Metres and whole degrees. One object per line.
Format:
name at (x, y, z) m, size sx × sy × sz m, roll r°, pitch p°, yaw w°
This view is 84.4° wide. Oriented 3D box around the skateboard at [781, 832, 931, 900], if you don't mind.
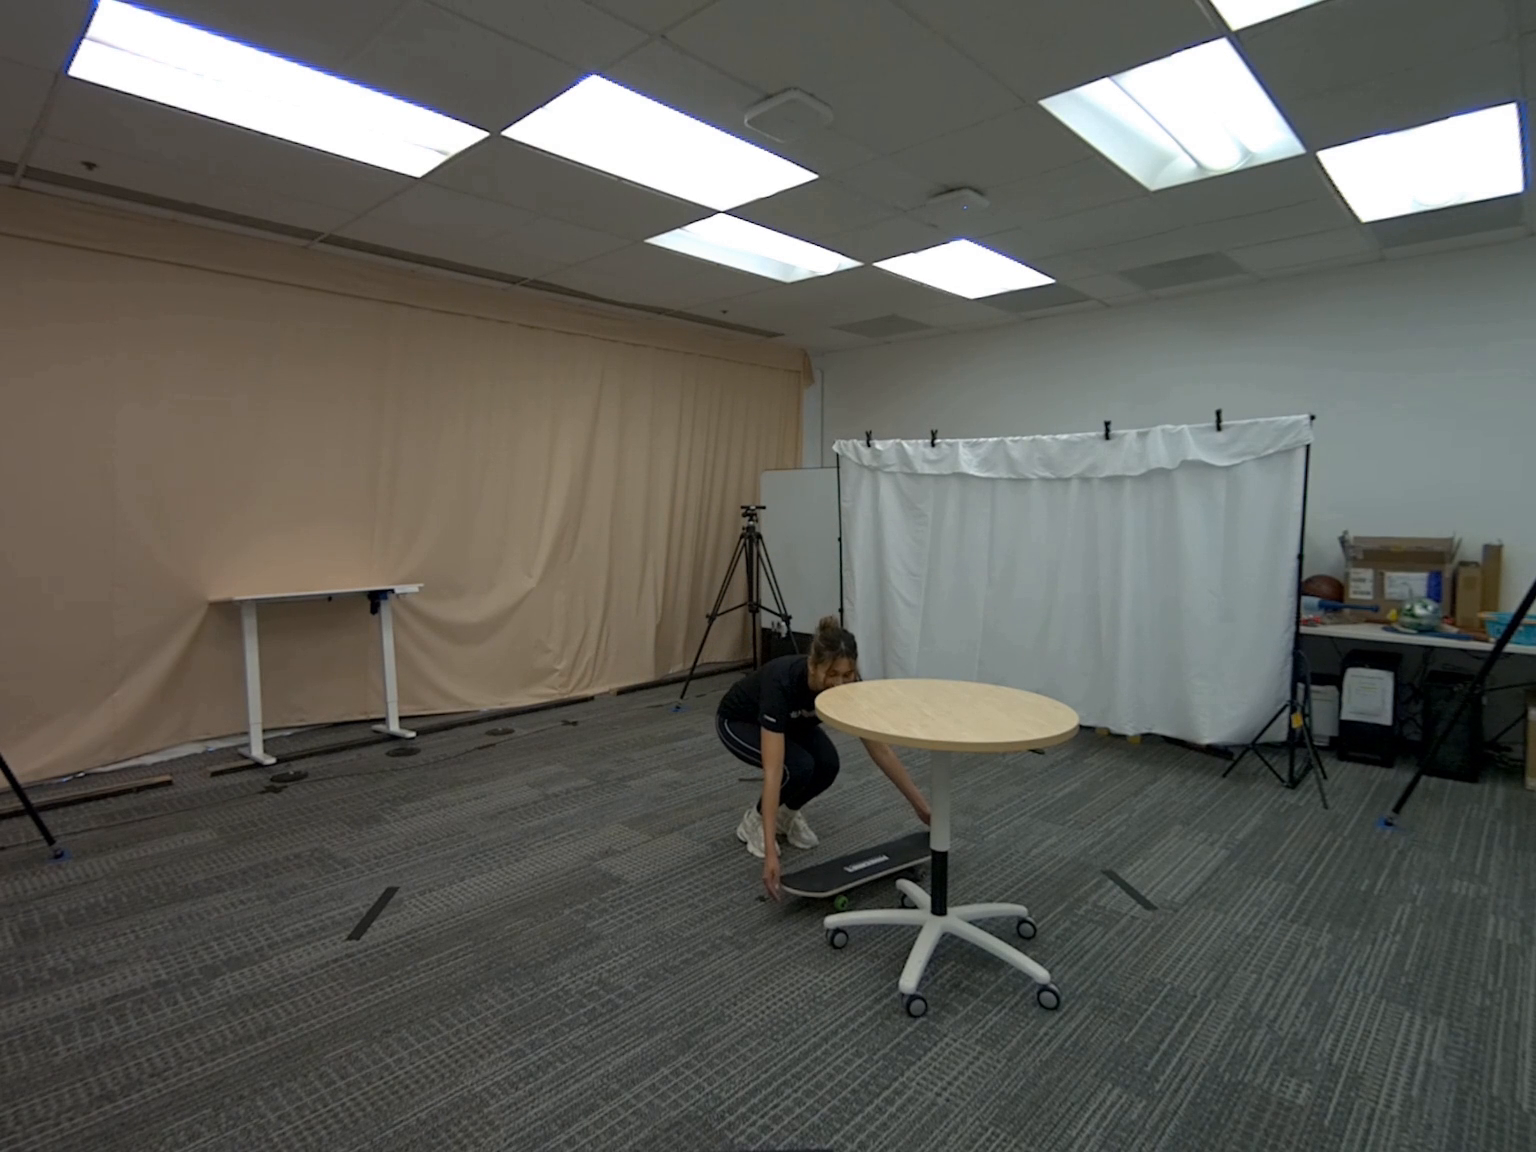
skateboard at (0.360, 1.081, 3.066) m, size 0.762 × 0.110 × 0.200 m, roll -3°, pitch 5°, yaw -36°
